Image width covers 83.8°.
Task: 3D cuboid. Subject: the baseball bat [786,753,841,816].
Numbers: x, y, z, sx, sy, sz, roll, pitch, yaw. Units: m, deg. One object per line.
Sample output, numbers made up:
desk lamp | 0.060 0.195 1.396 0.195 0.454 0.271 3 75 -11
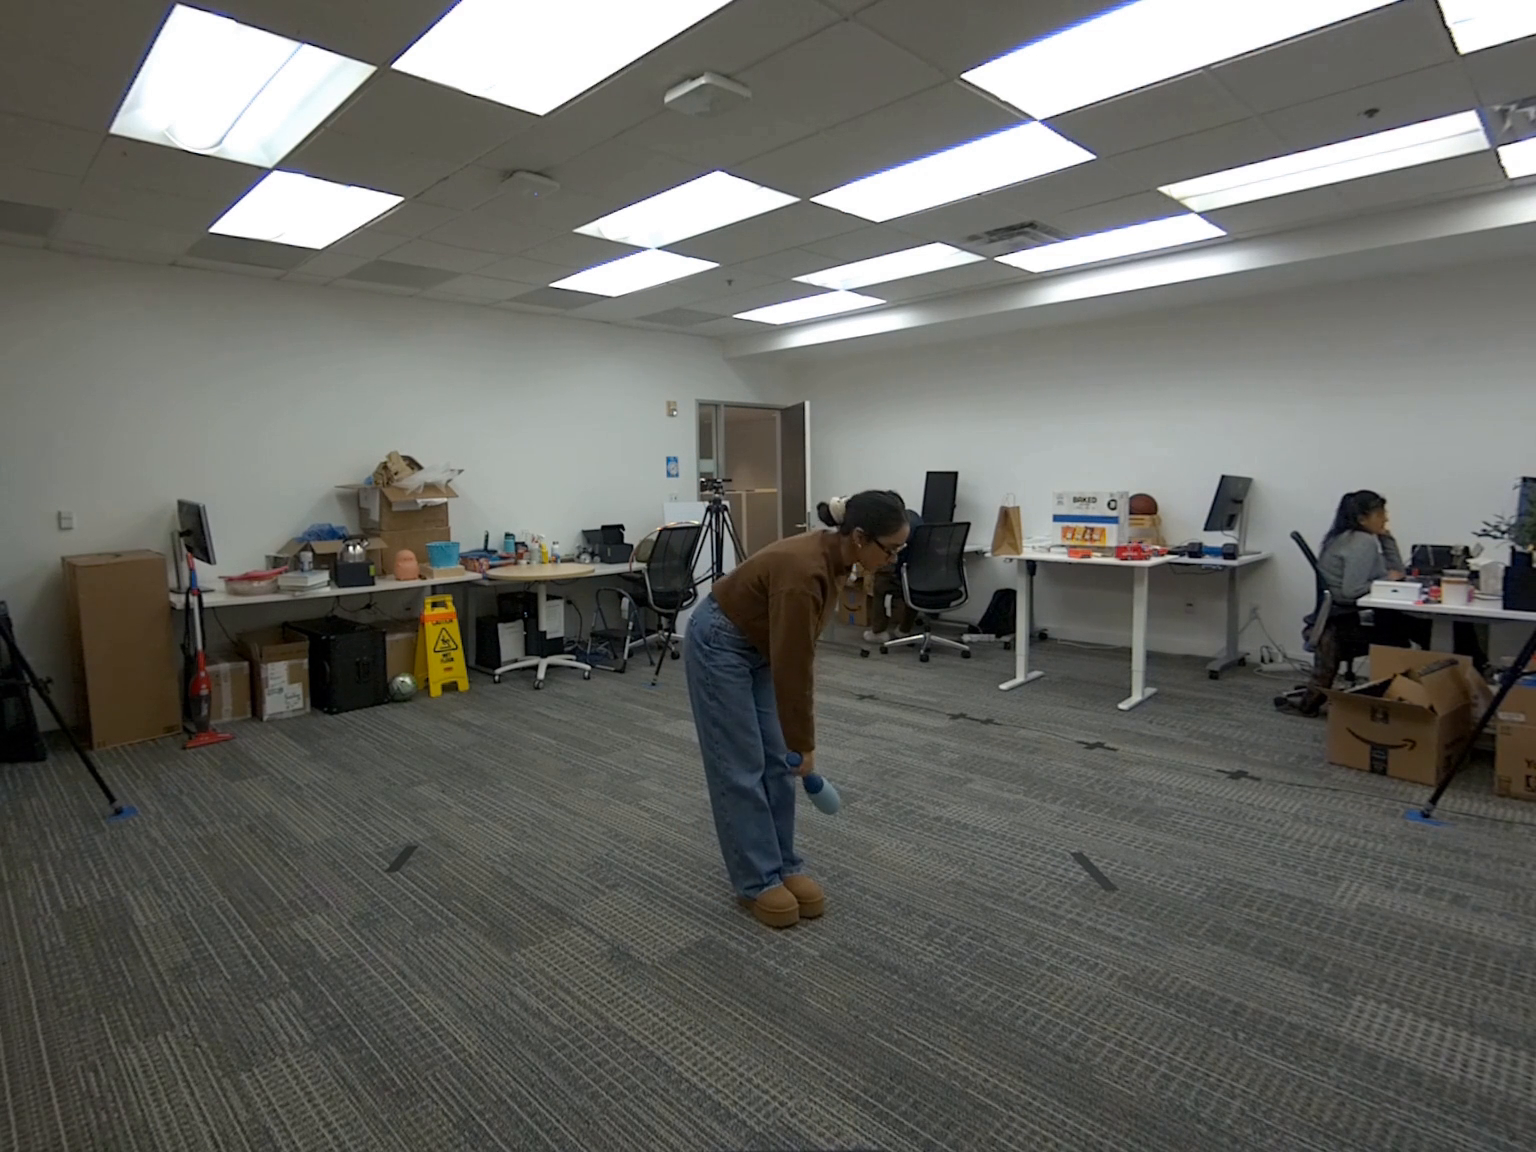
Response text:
baseball bat | 0.151 0.674 2.792 0.091 0.090 0.524 1 -29 19
